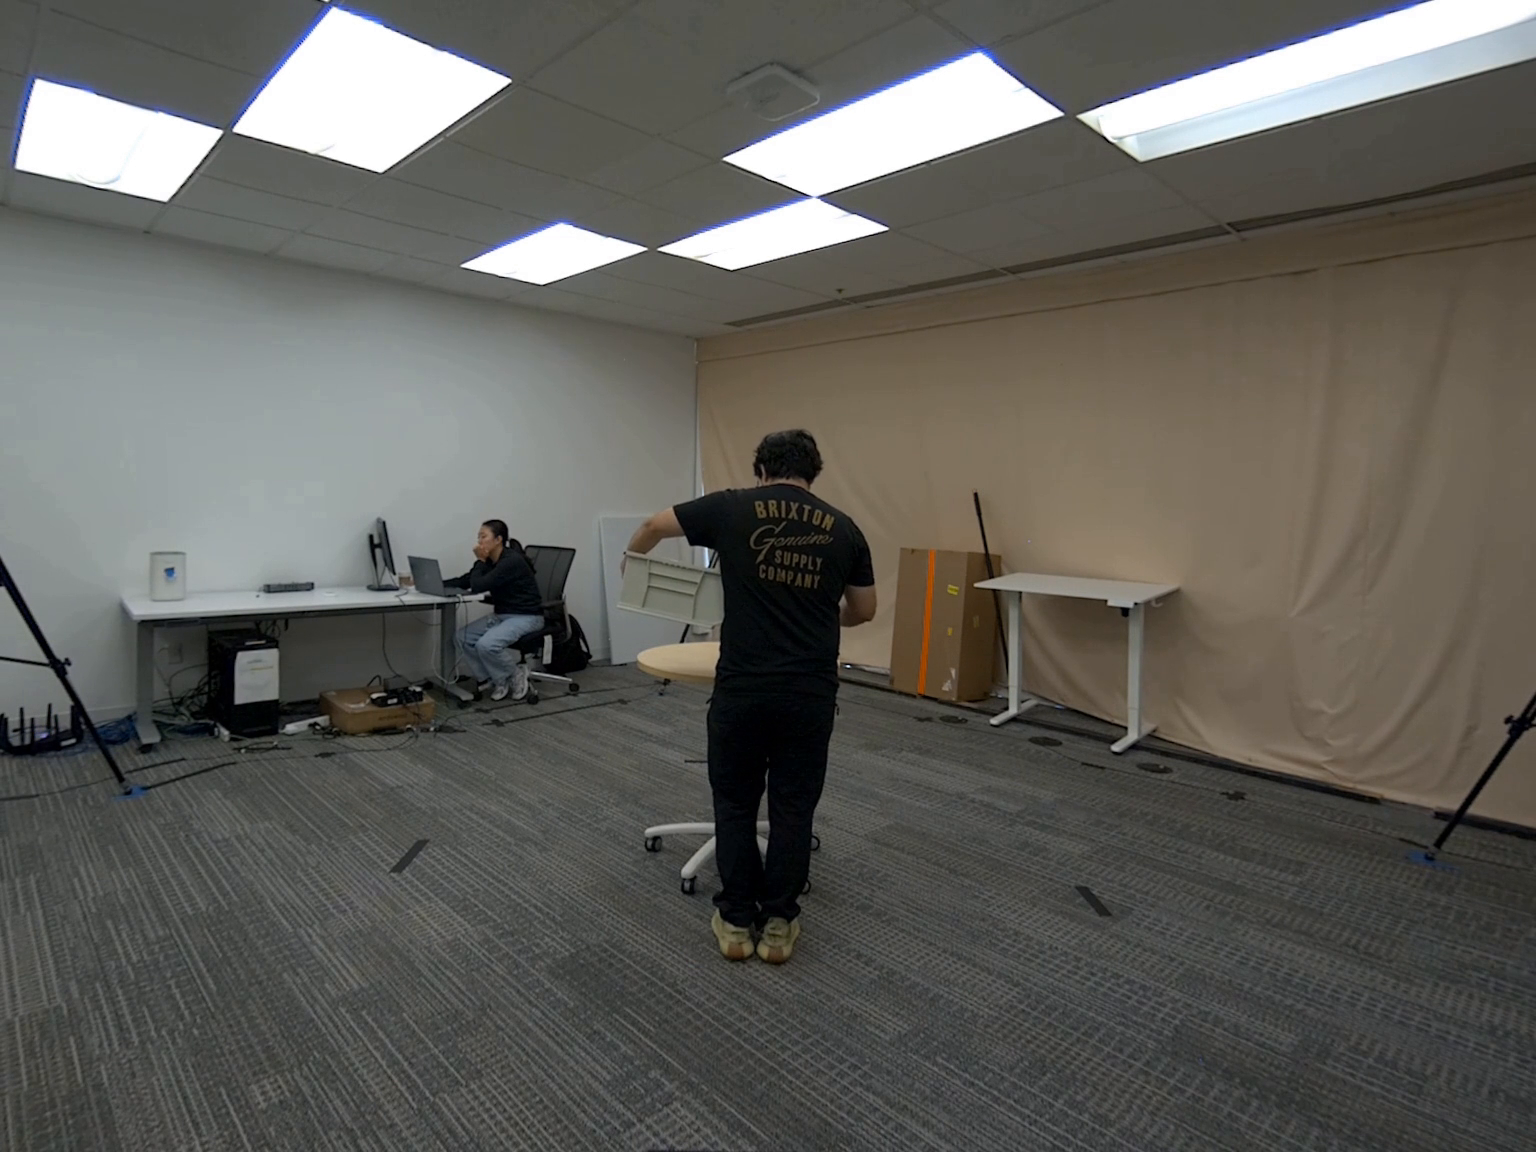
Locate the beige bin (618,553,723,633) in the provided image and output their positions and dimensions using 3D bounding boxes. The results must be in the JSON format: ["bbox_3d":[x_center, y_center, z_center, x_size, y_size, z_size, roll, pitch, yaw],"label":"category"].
[{"bbox_3d":[-0.251,0.065,2.771,0.381,0.189,0.417,12,0,11],"label":"beige bin"}]
